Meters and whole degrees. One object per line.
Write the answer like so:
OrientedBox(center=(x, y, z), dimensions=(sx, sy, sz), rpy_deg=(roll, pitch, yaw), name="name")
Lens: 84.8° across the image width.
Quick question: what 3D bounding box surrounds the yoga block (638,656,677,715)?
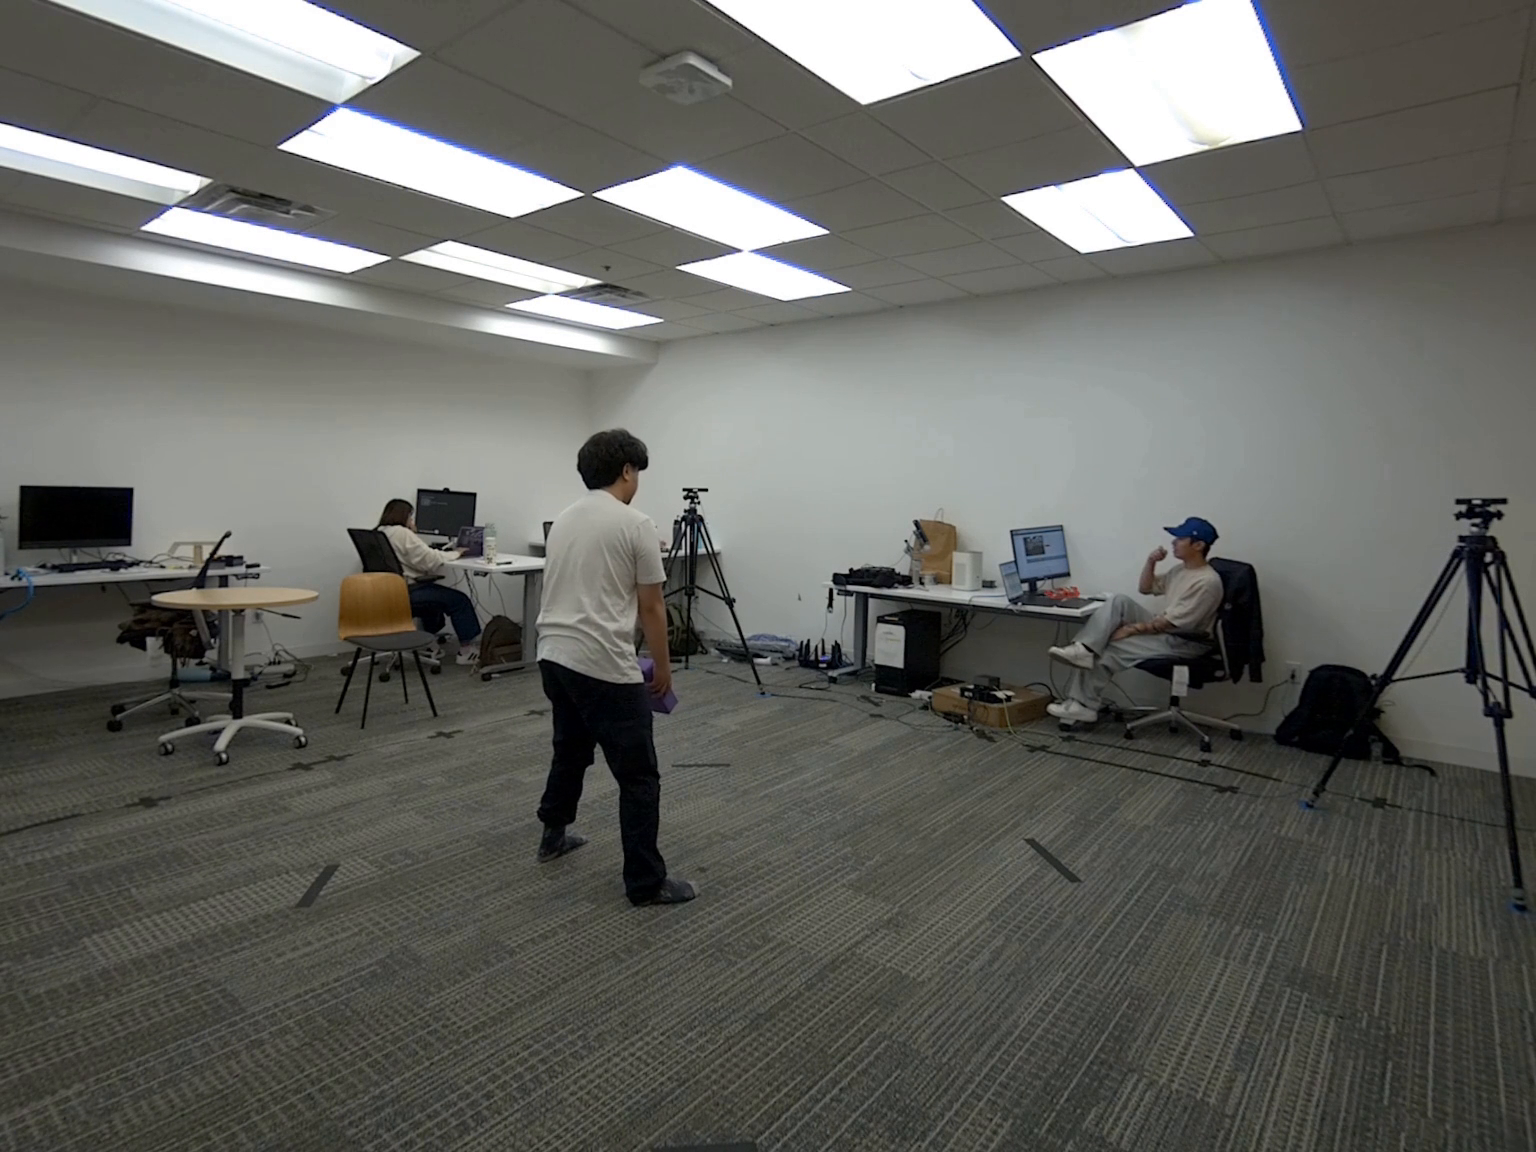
OrientedBox(center=(-0.464, 0.413, 3.233), dimensions=(0.154, 0.222, 0.076), rpy_deg=(2, 39, 36), name="yoga block")
